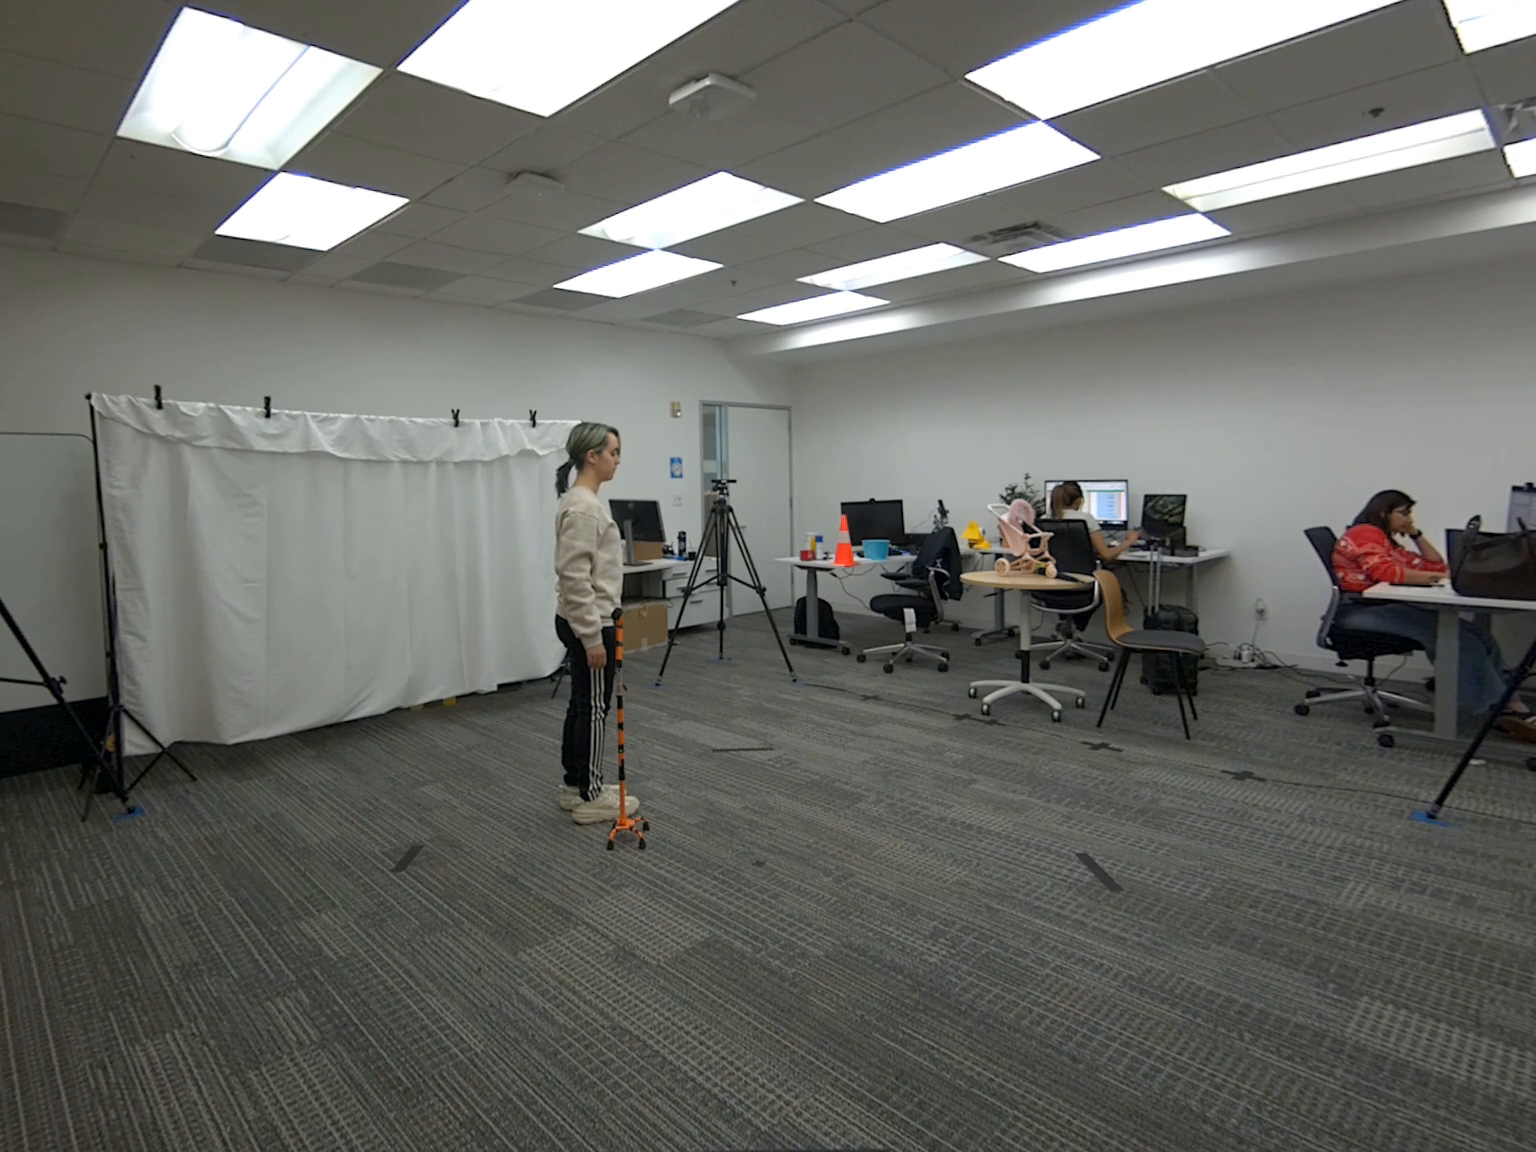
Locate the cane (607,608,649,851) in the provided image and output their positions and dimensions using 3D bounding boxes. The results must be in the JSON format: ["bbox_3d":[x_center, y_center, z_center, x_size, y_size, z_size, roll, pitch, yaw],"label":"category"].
[{"bbox_3d":[-0.555,0.583,3.319,0.151,0.905,0.207,-2,3,-3],"label":"cane"}]
